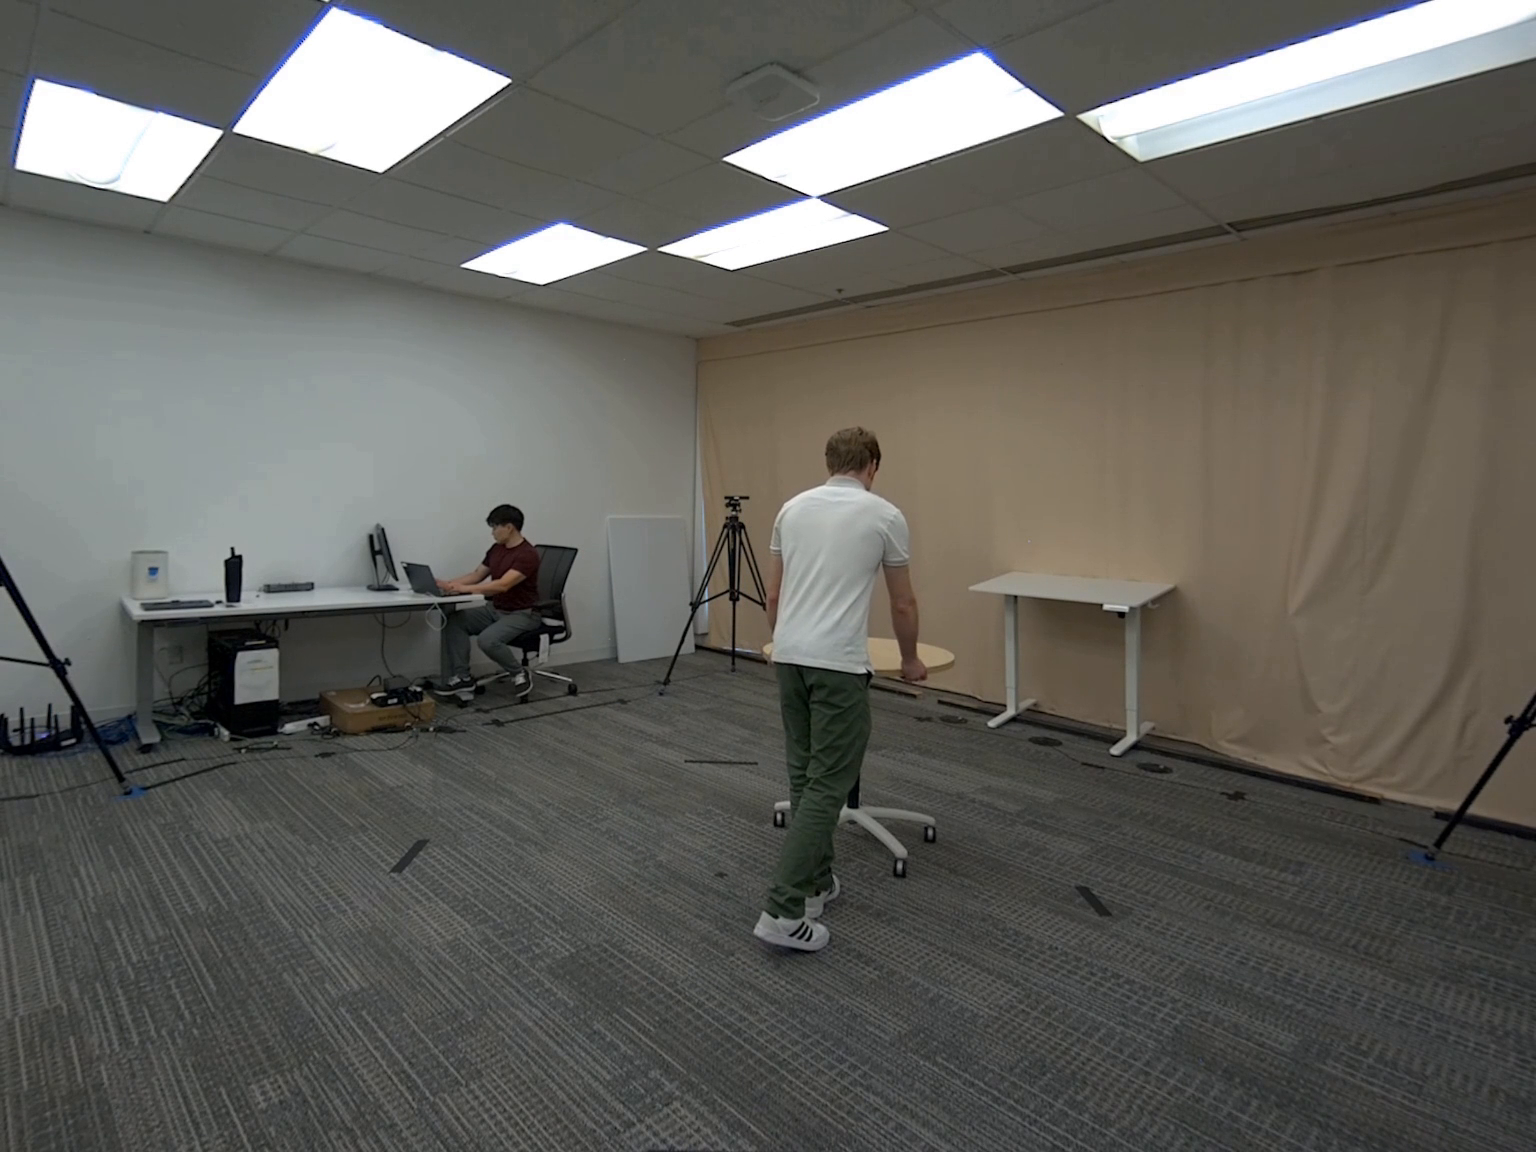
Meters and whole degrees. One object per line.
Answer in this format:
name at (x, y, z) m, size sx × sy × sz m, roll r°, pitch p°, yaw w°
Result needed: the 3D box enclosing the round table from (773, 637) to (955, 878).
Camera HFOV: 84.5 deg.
round table at (0.349, 0.696, 3.413) m, size 0.784 × 0.785 × 0.787 m, roll 1°, pitch 3°, yaw -1°
